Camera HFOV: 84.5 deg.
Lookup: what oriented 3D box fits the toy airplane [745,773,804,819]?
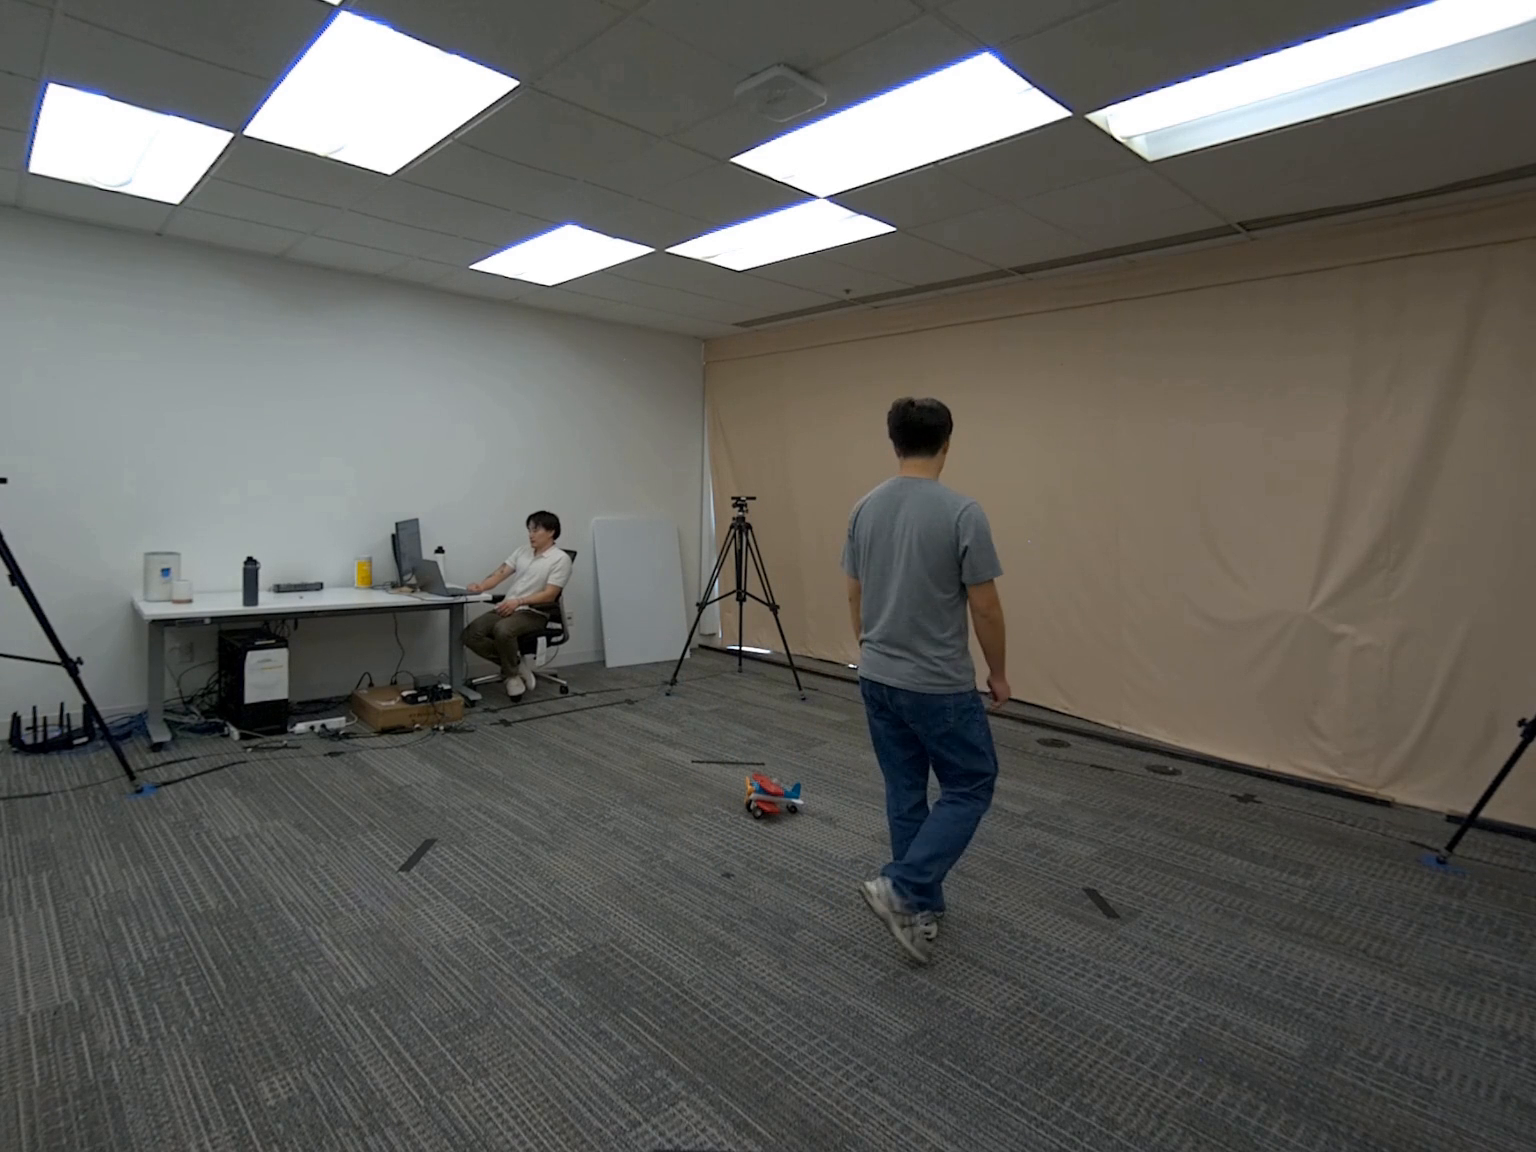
[{"bbox_3d":[0.007,0.981,3.758,0.257,0.156,0.253,6,7,43],"label":"toy airplane"}]
